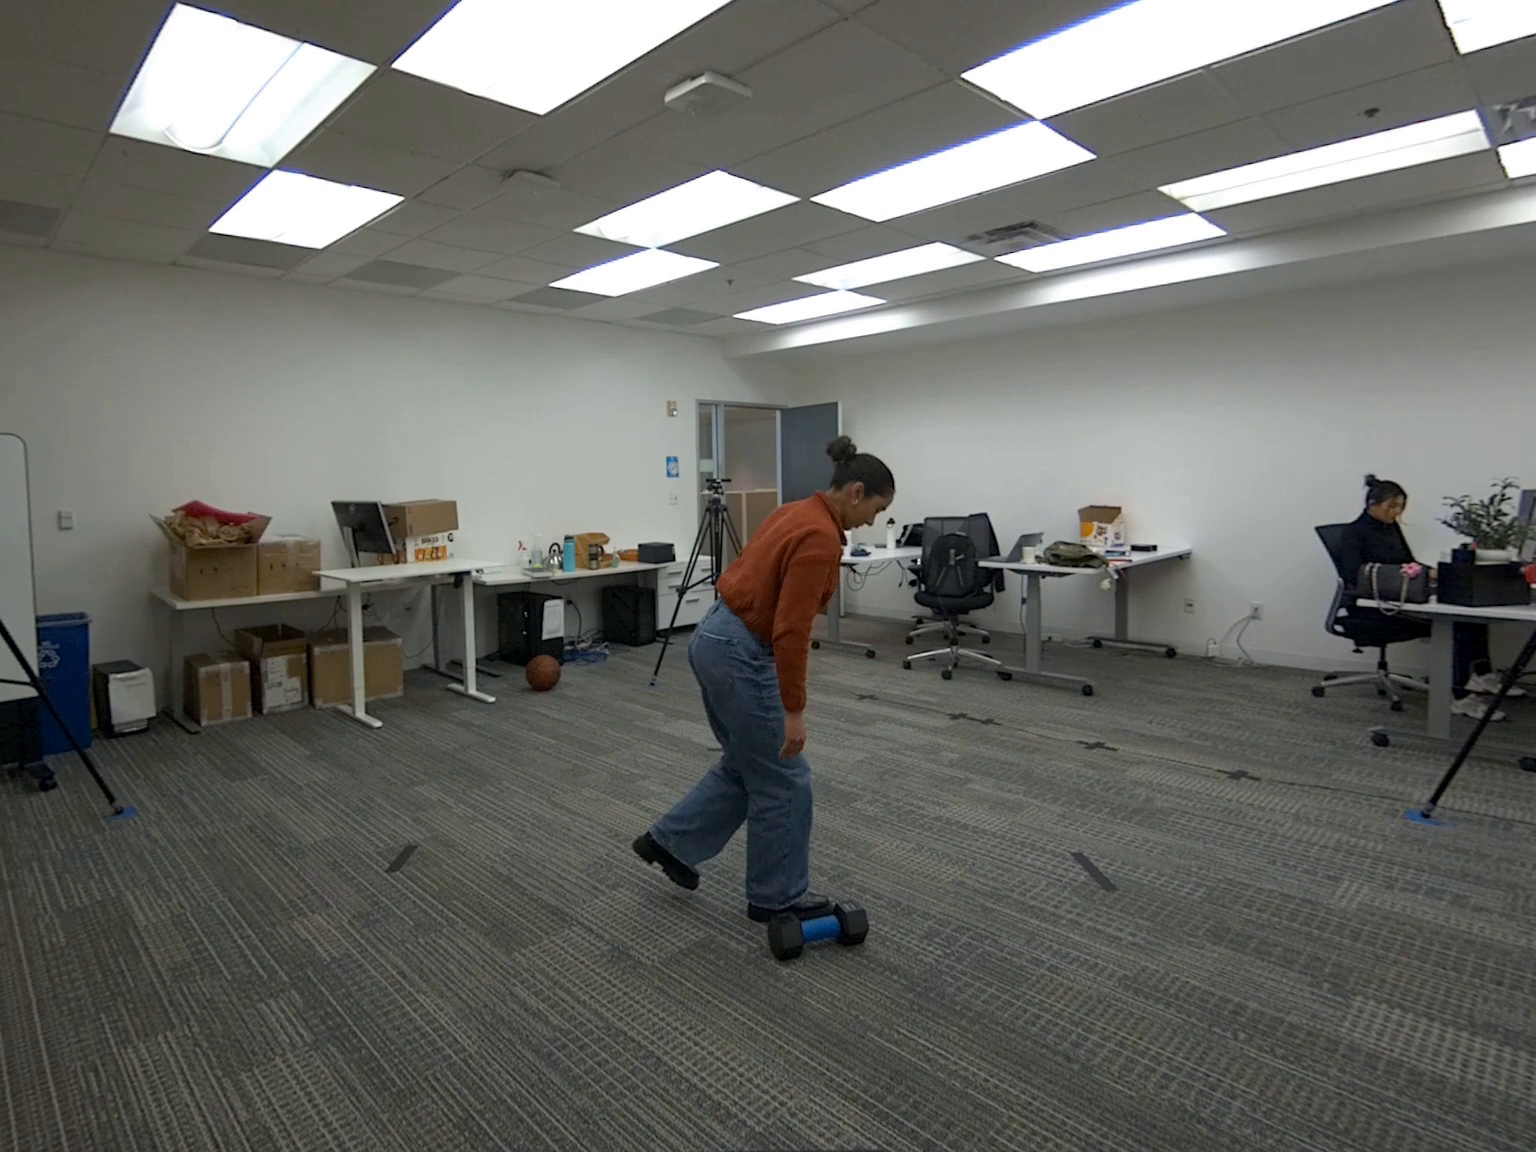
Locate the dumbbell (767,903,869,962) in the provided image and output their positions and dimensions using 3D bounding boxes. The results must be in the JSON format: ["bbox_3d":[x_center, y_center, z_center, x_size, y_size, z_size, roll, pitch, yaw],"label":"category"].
[{"bbox_3d":[0.156,1.057,2.537,0.288,0.126,0.108,-2,-25,-19],"label":"dumbbell"}]
